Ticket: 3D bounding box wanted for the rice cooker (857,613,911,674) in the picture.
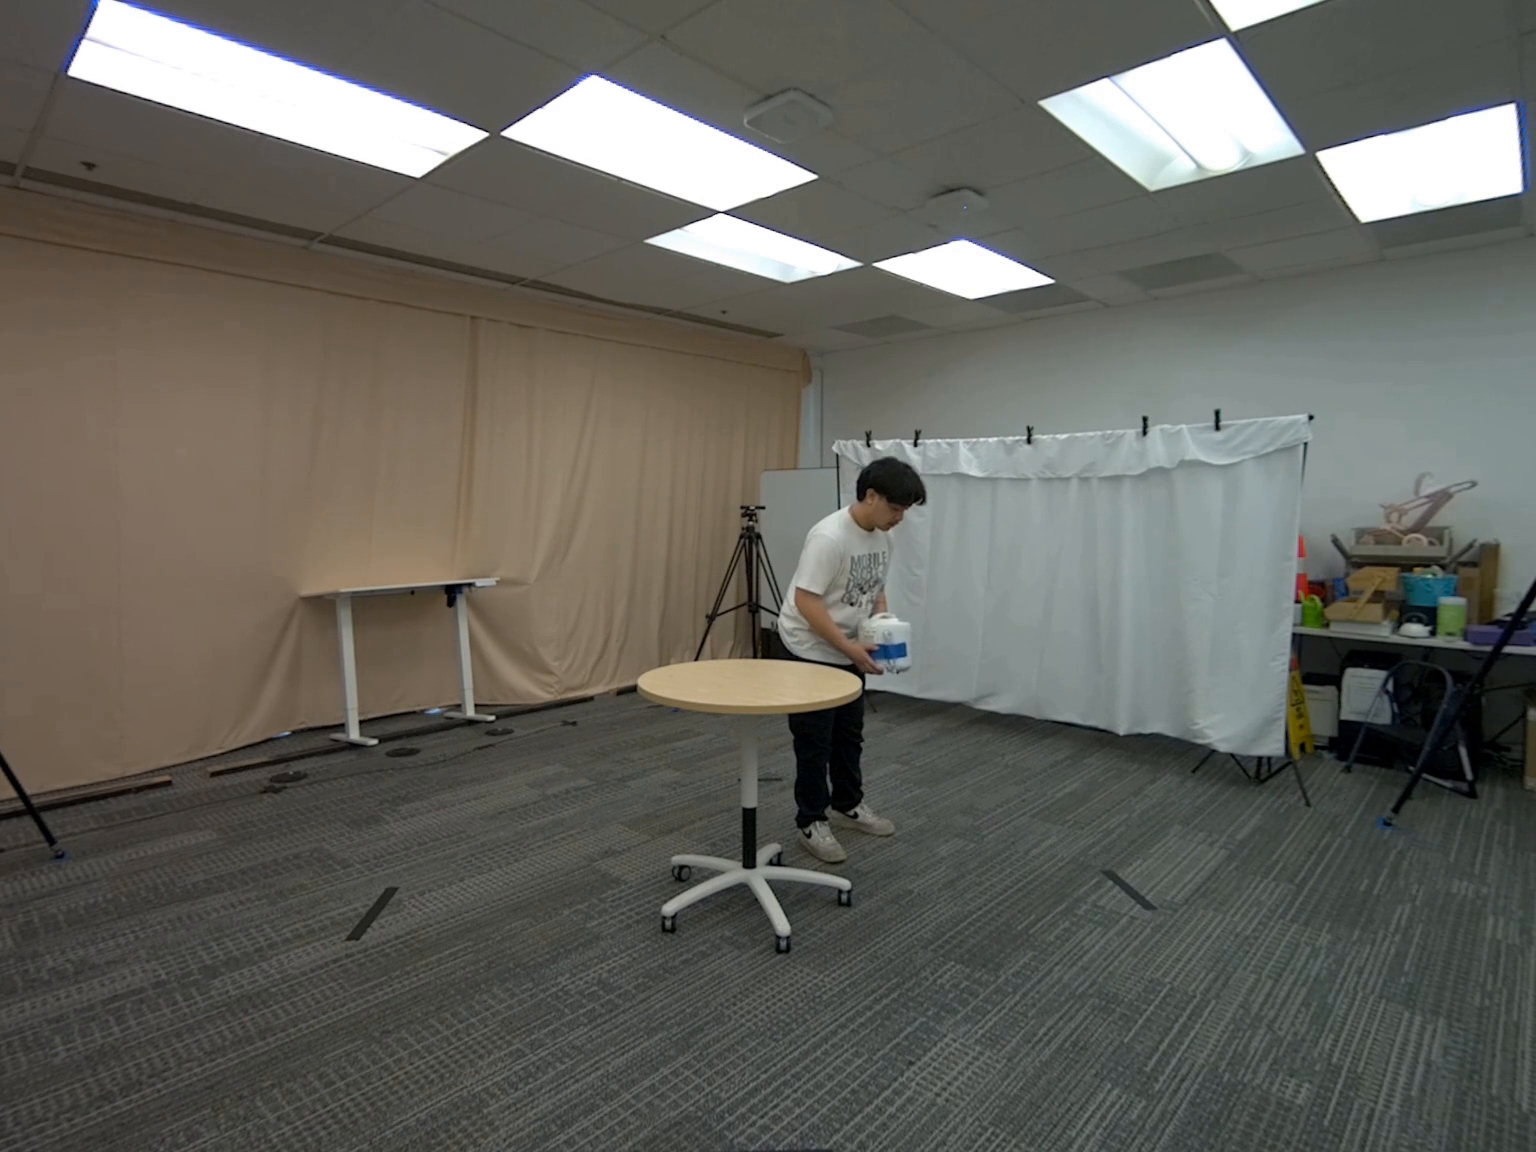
[{"bbox_3d":[0.462,0.258,3.339,0.213,0.233,0.224,3,-3,-44],"label":"rice cooker"}]
